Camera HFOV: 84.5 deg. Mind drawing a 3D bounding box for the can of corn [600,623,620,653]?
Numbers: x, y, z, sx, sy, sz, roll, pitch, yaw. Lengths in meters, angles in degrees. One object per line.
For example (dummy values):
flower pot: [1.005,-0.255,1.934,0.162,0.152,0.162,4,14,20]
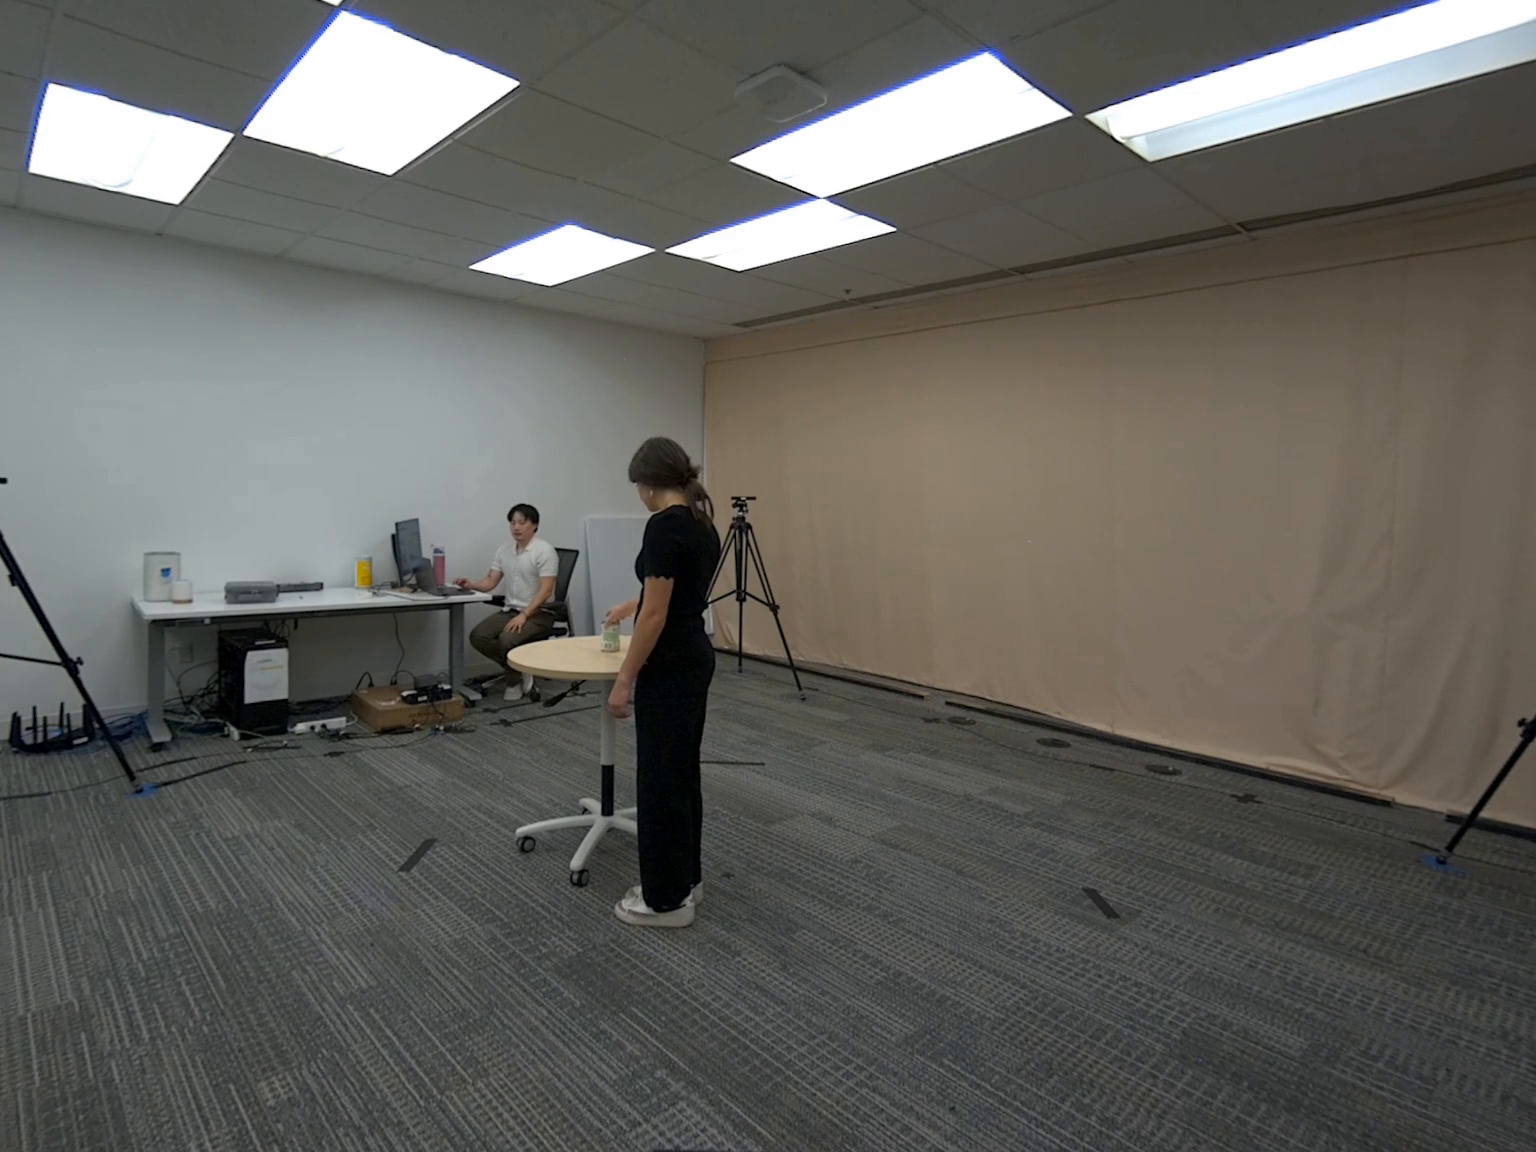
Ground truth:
can of corn: [-0.622,0.239,3.288,0.074,0.111,0.074,1,3,-1]
